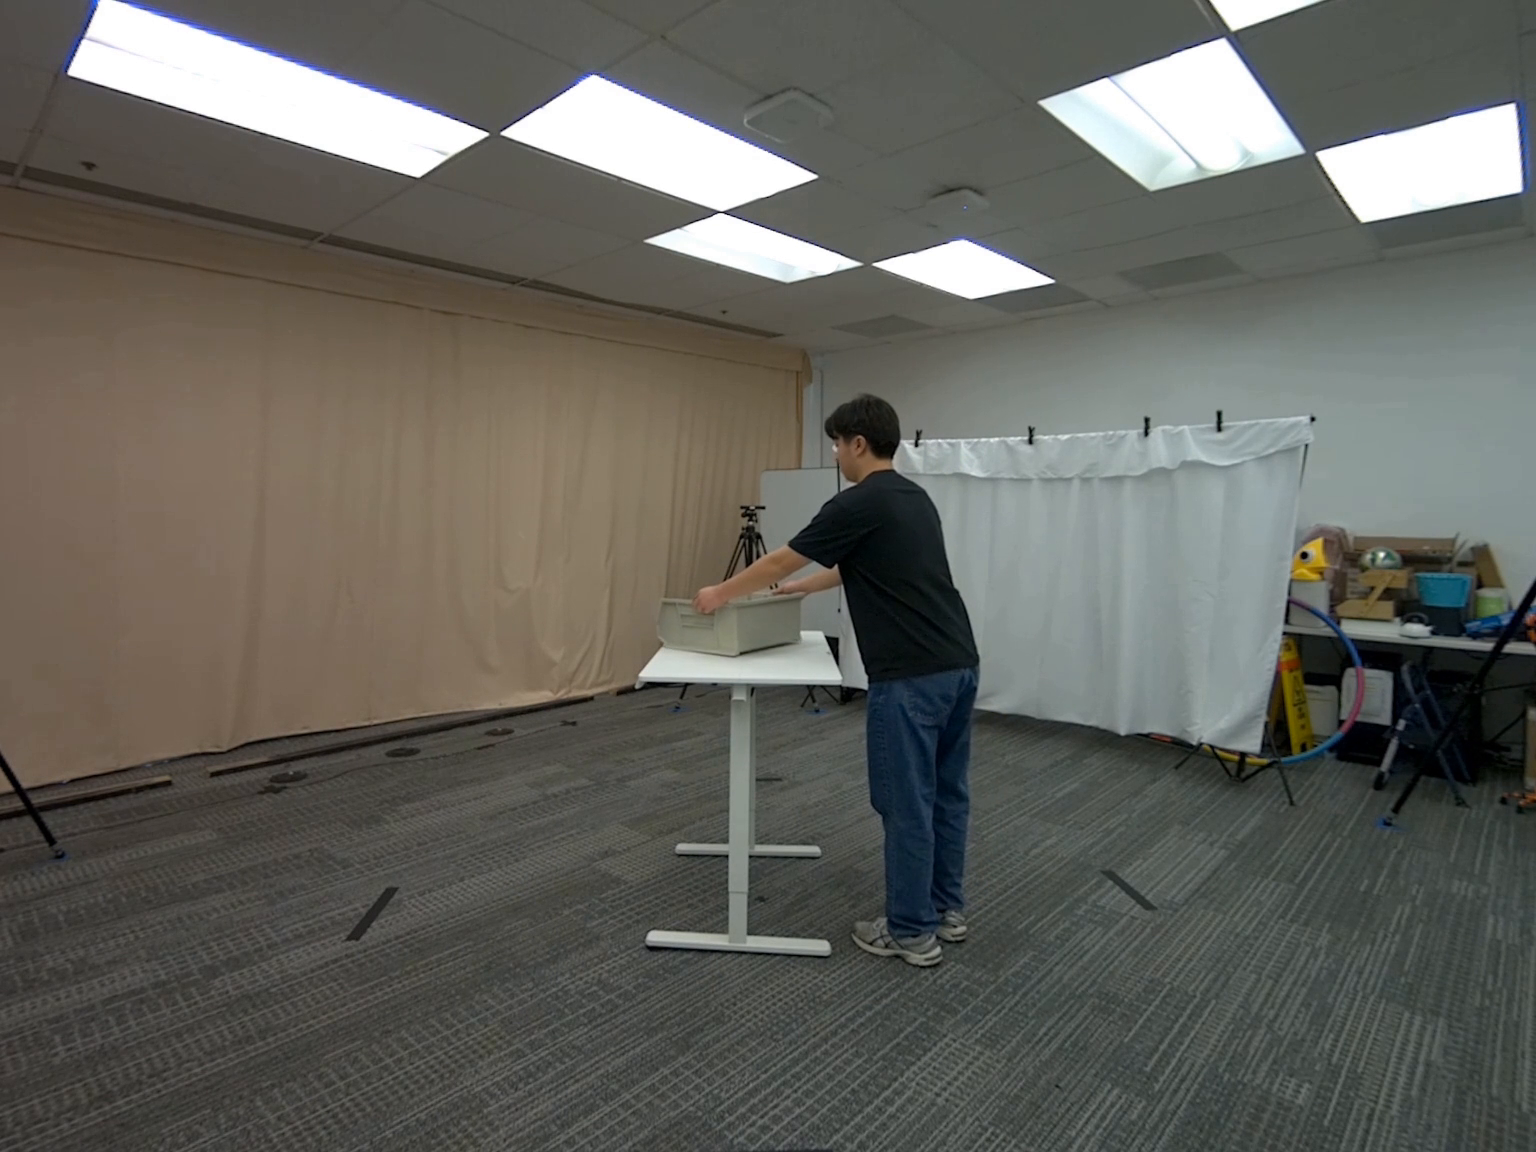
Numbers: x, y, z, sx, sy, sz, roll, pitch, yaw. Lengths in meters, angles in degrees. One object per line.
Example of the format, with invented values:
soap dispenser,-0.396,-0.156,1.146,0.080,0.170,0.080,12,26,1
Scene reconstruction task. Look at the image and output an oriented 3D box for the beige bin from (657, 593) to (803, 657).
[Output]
beige bin,-0.135,0.161,3.086,0.390,0.188,0.410,4,6,38
